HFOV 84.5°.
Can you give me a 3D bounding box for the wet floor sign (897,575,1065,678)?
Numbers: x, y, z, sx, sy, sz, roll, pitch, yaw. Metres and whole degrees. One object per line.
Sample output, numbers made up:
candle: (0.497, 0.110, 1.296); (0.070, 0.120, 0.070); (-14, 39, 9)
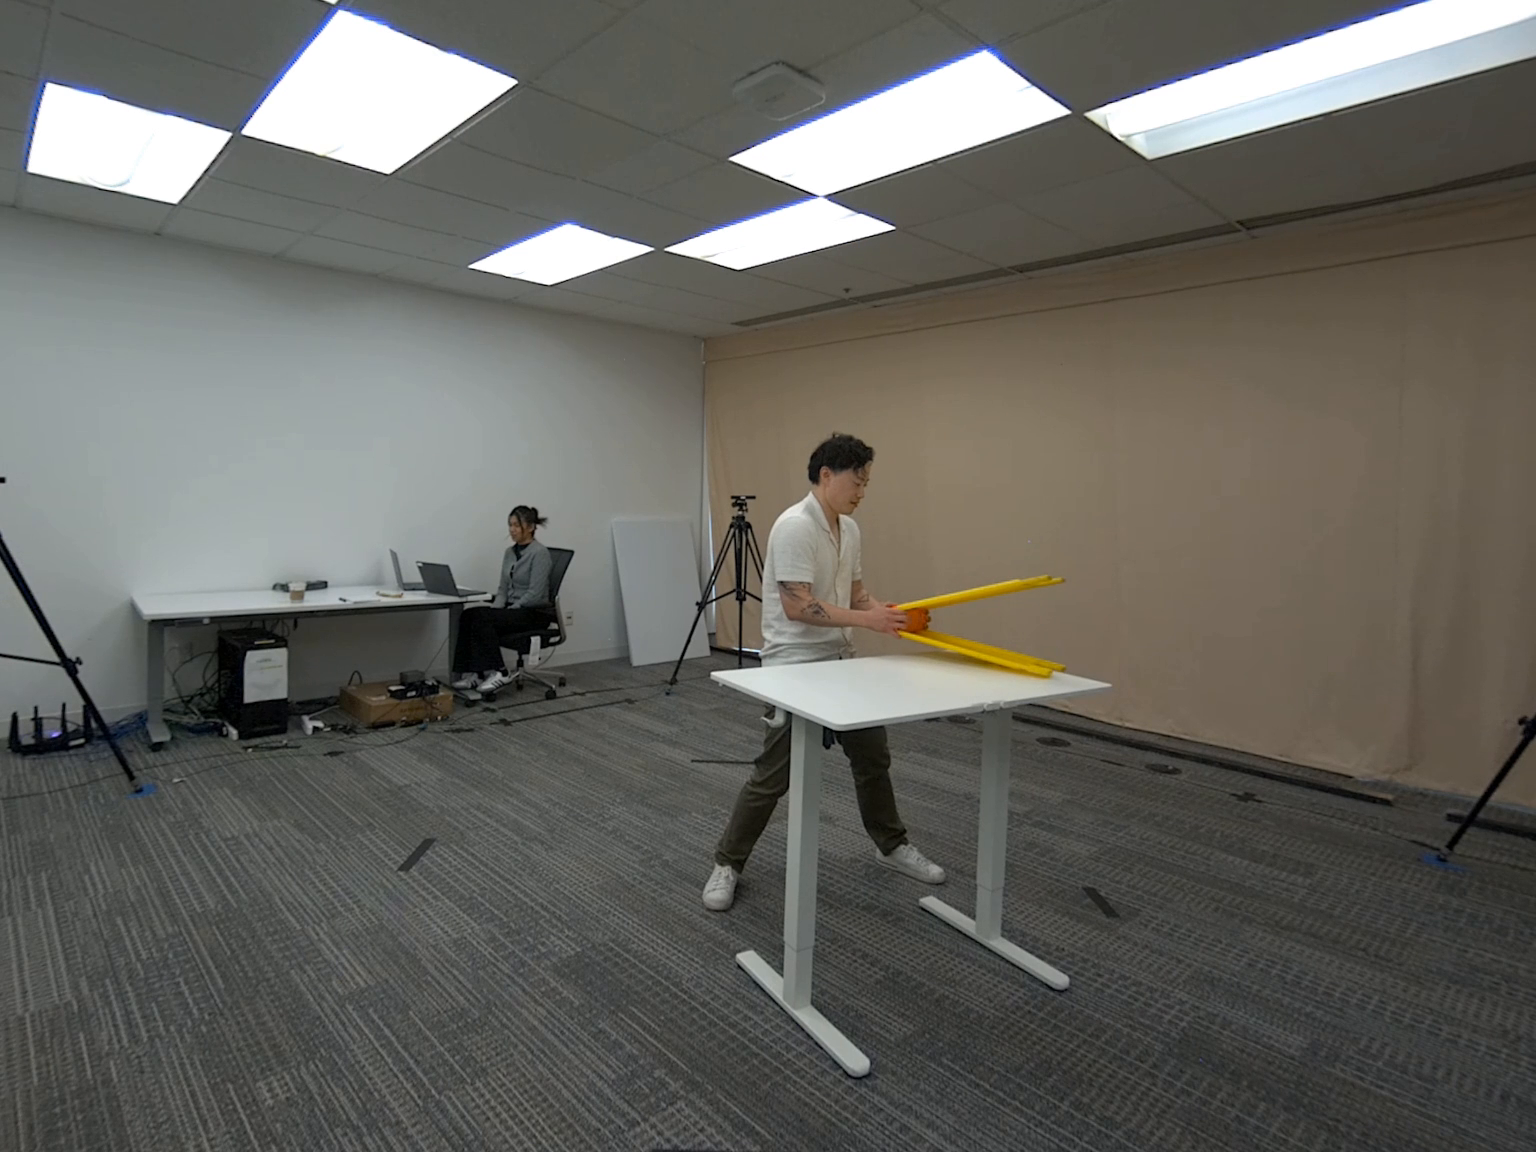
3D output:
wet floor sign: (0.606, 0.148, 2.759); (0.659, 0.290, 0.276); (0, -2, 31)
